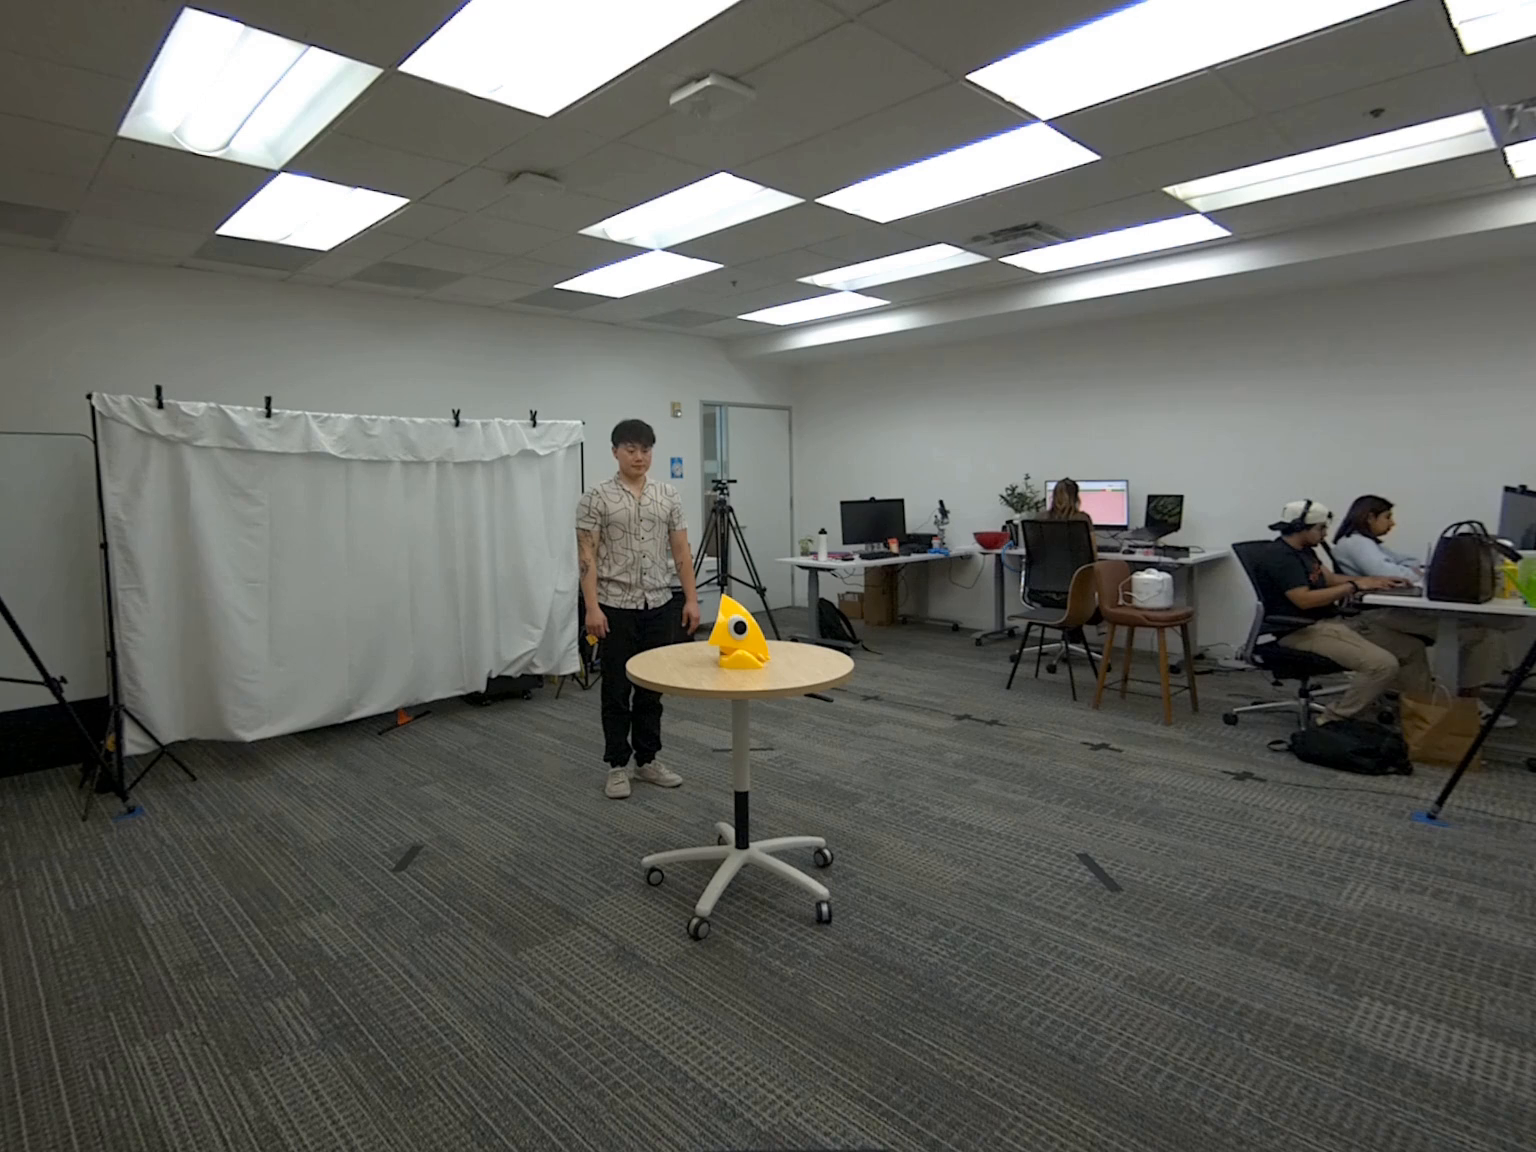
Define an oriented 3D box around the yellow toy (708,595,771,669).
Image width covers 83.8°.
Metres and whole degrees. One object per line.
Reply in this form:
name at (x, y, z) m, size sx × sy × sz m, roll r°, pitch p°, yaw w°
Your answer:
yellow toy at (-0.088, 0.178, 2.871) m, size 0.195 × 0.230 × 0.203 m, roll -1°, pitch 5°, yaw 13°
